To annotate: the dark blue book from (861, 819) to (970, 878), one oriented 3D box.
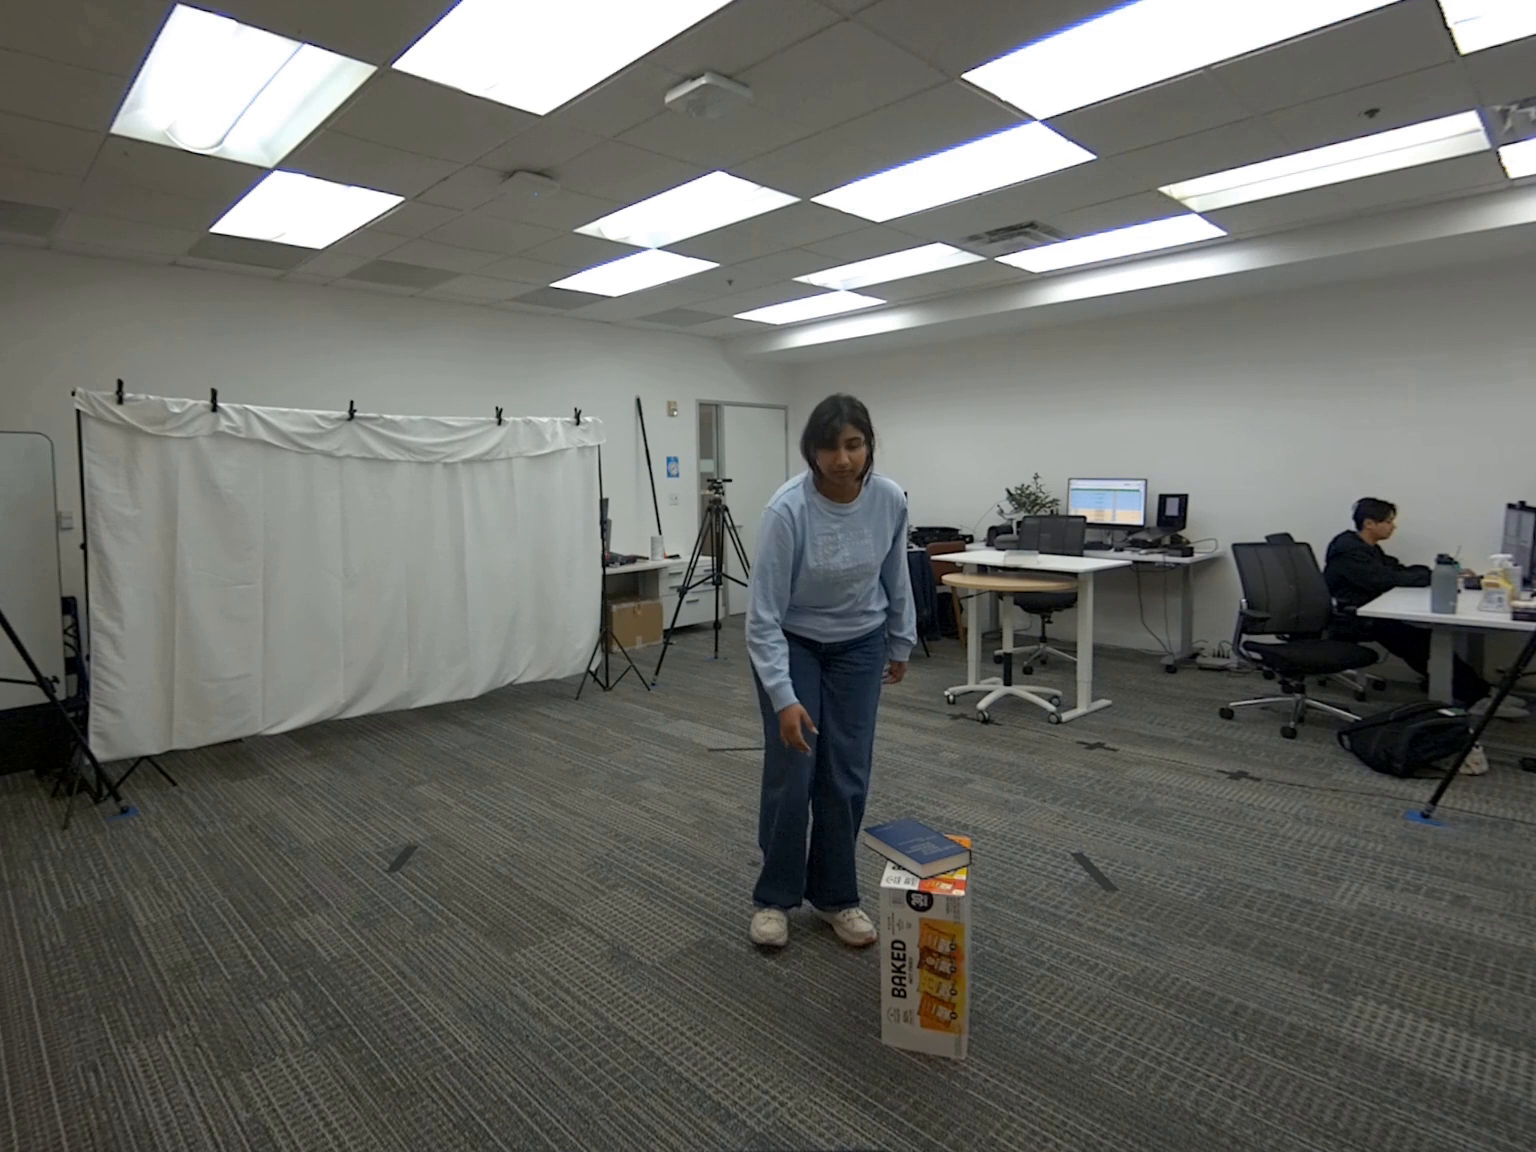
[{"bbox_3d":[0.394,0.716,2.241,0.160,0.045,0.252,-6,7,-29],"label":"dark blue book"}]
